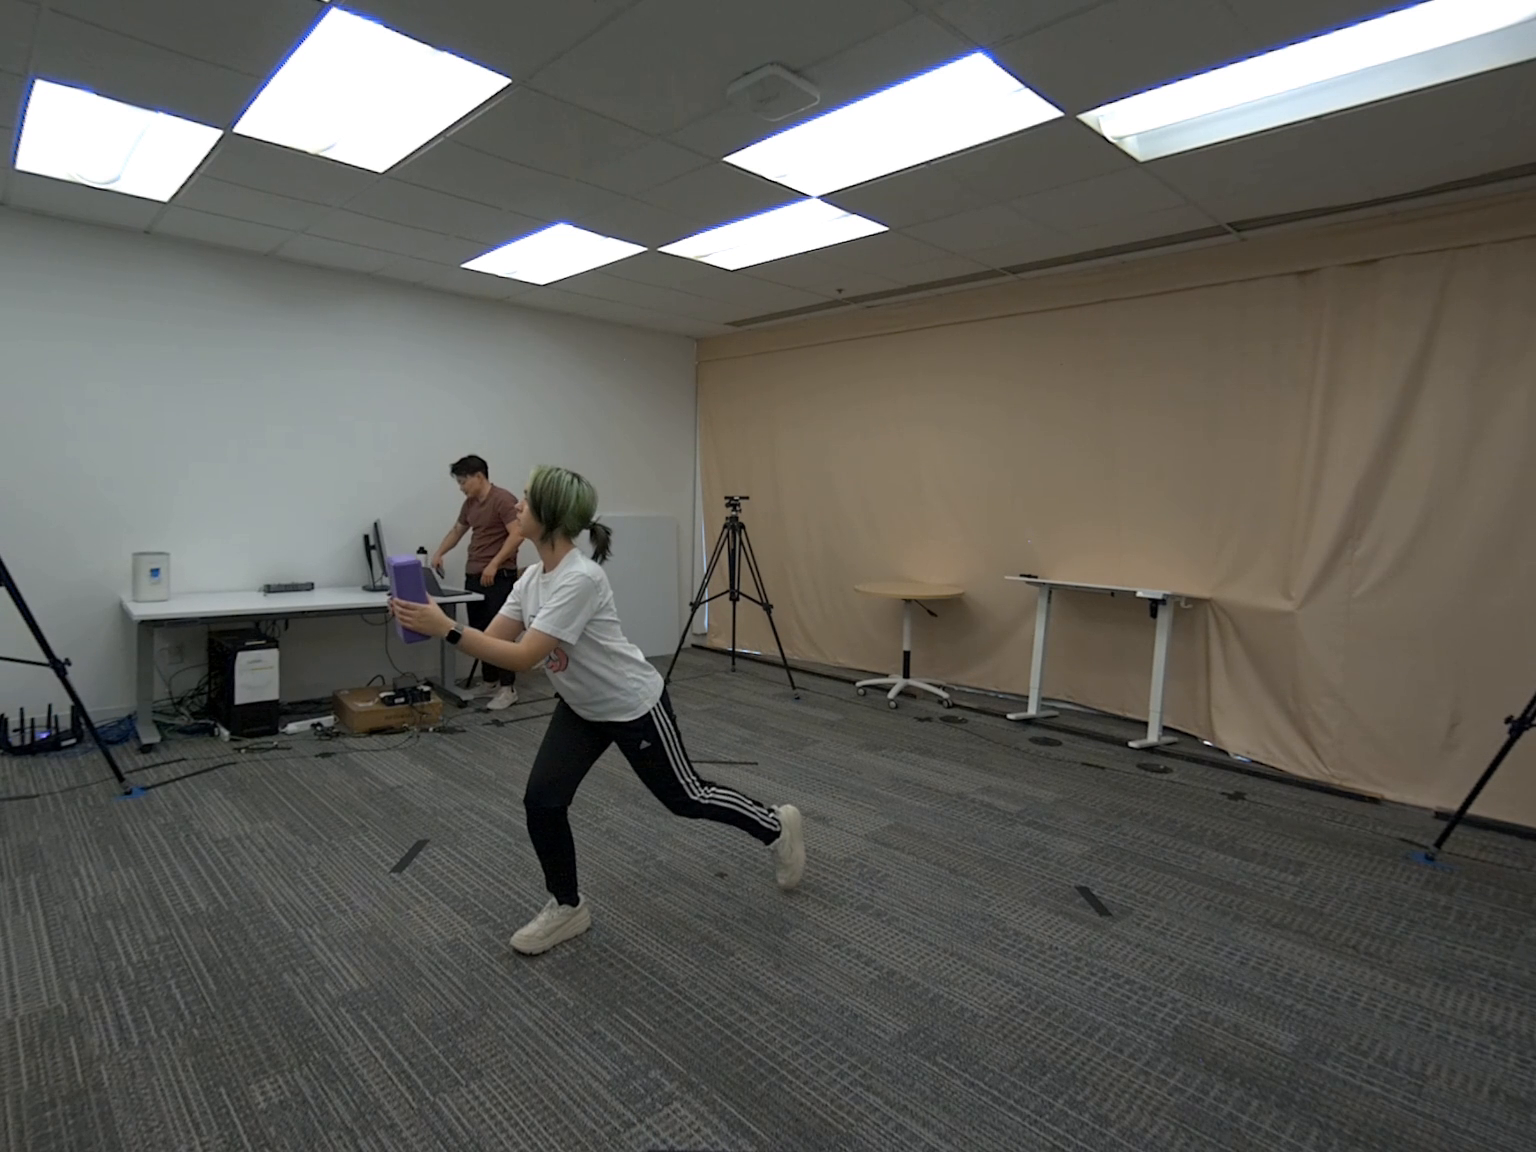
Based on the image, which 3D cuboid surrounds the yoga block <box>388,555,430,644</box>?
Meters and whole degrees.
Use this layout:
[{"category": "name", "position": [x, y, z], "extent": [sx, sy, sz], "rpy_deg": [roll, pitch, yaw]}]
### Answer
[{"category": "yoga block", "position": [-1.014, 0.060, 2.364], "extent": [0.075, 0.228, 0.152], "rpy_deg": [-8, 11, -28]}]
